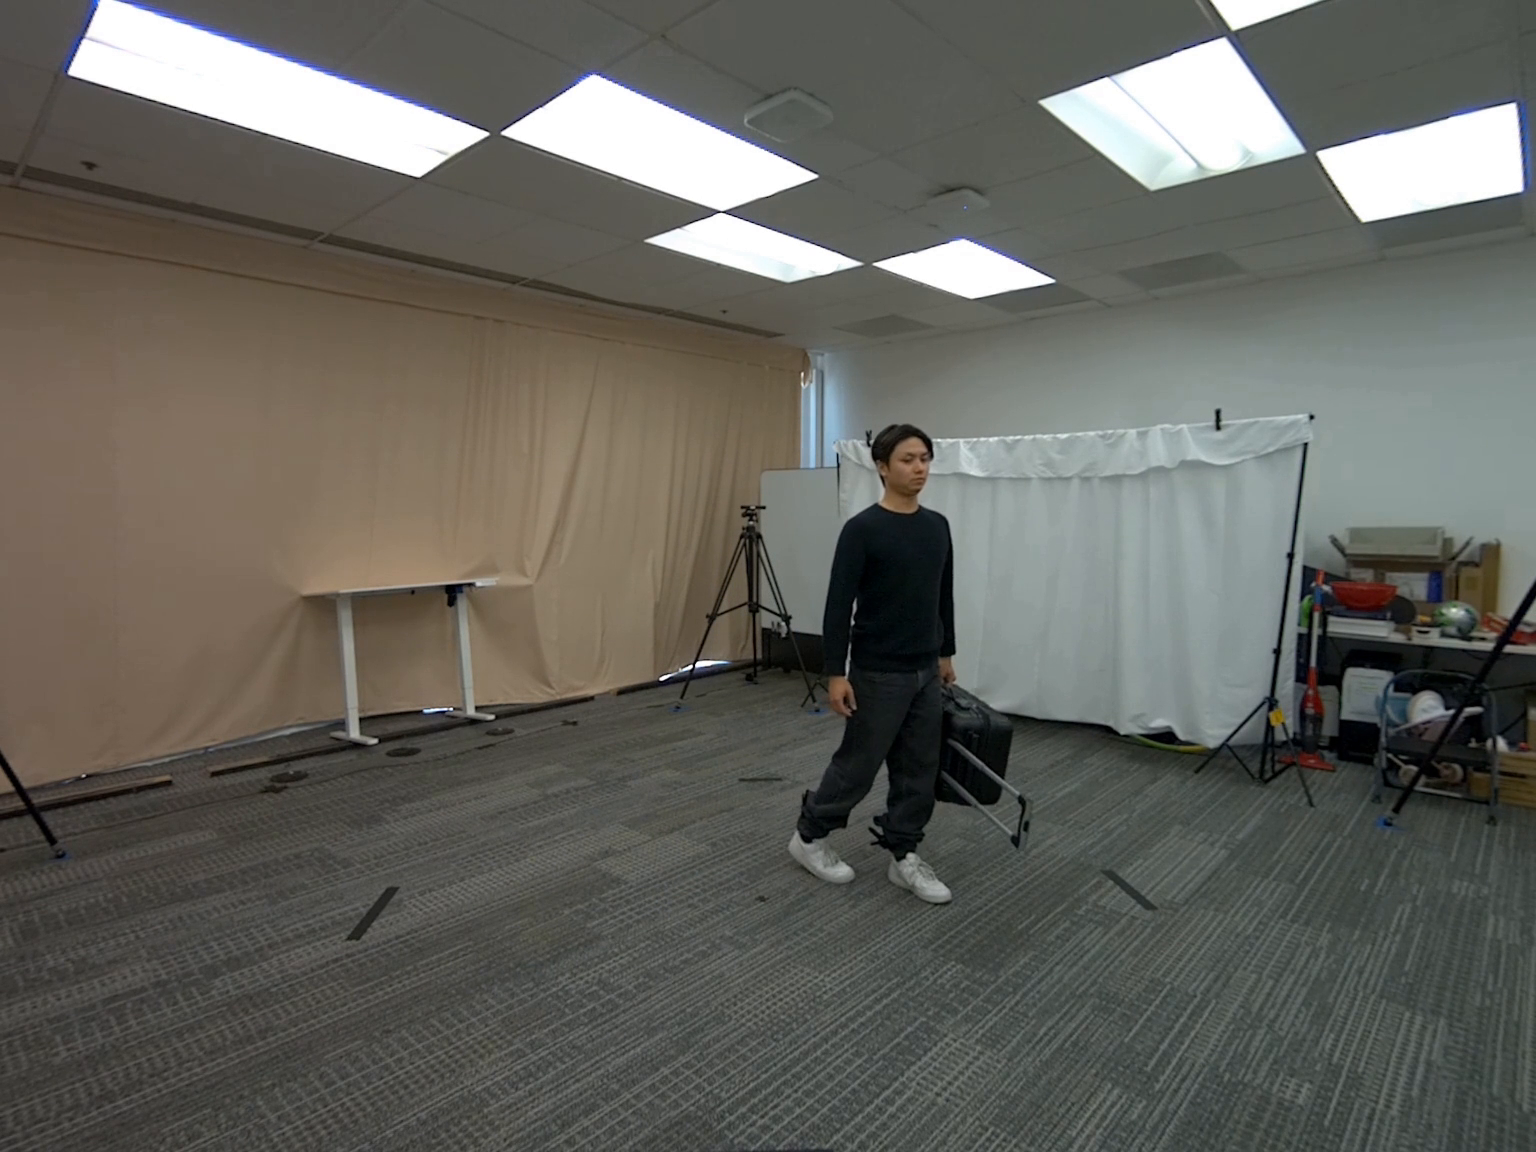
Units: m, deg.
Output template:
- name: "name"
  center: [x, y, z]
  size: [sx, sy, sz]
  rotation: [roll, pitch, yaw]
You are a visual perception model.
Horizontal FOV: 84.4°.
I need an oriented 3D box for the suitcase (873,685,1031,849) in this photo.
- name: "suitcase"
  center: [0.749, 0.654, 3.034]
  size: [0.253, 0.382, 0.998]
  rotation: [4, 8, -16]
